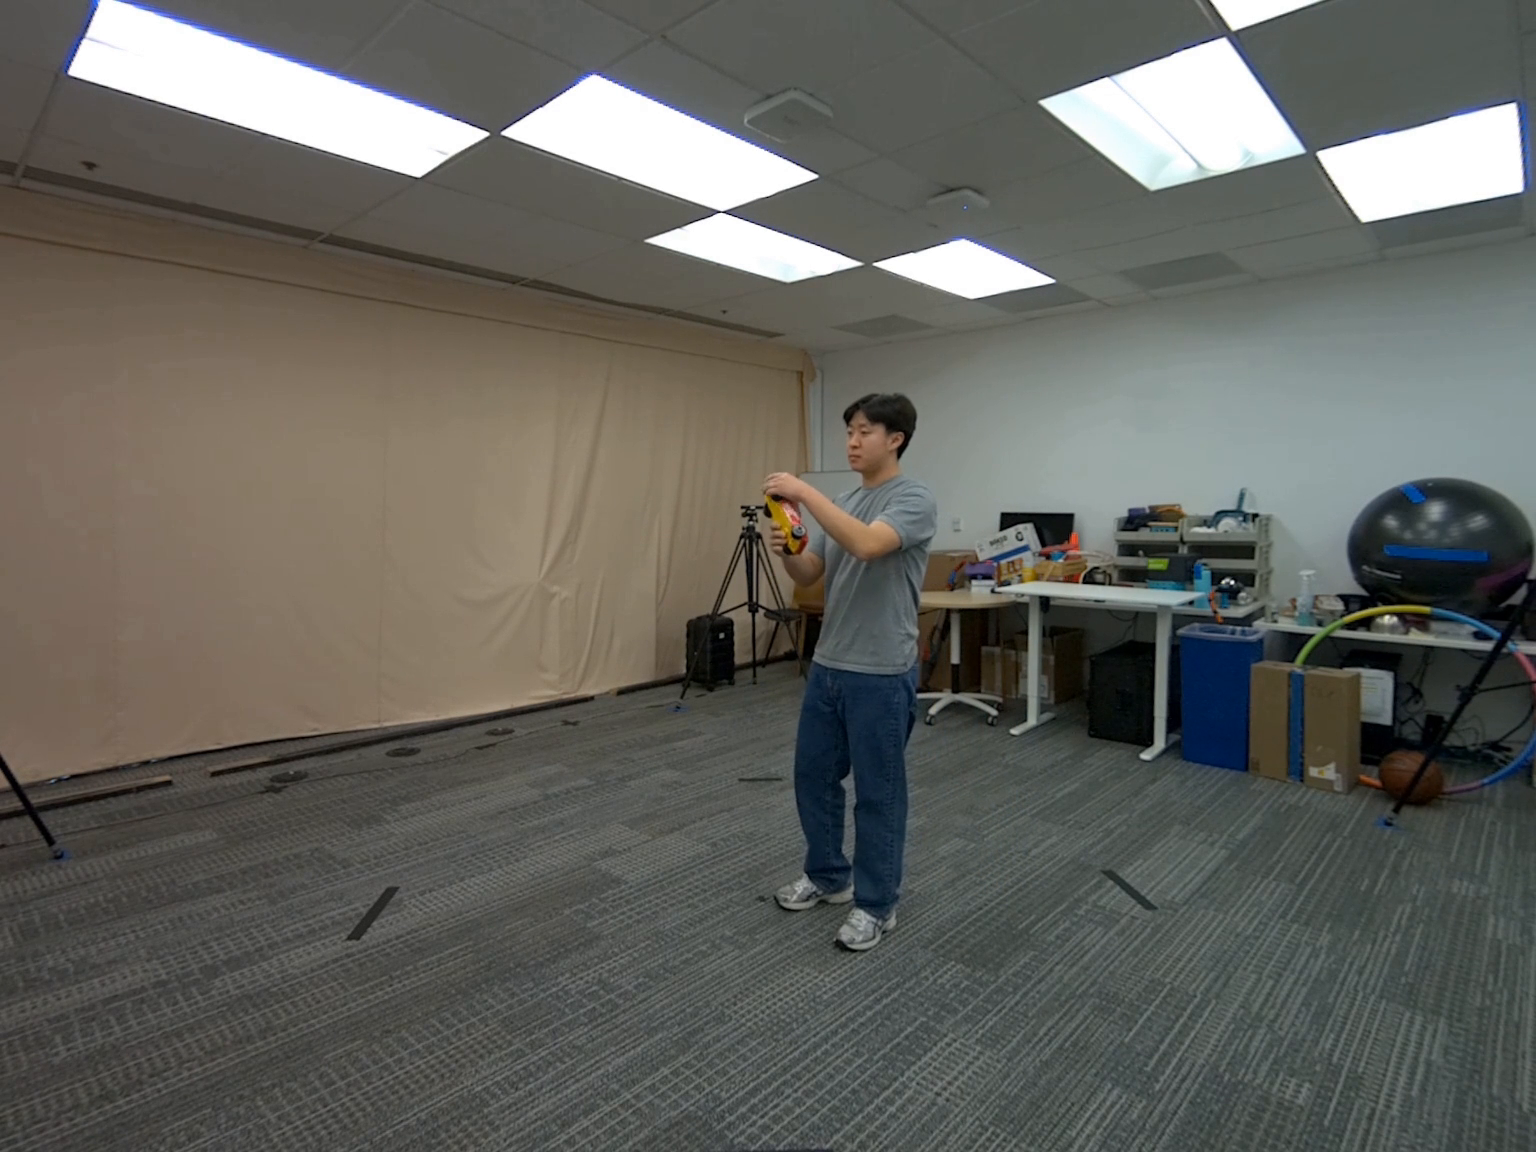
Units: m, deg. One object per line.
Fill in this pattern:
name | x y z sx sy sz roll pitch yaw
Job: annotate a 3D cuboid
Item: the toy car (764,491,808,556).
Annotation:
toy car | 0.054 -0.189 2.596 0.082 0.260 0.130 -4 -30 -18
